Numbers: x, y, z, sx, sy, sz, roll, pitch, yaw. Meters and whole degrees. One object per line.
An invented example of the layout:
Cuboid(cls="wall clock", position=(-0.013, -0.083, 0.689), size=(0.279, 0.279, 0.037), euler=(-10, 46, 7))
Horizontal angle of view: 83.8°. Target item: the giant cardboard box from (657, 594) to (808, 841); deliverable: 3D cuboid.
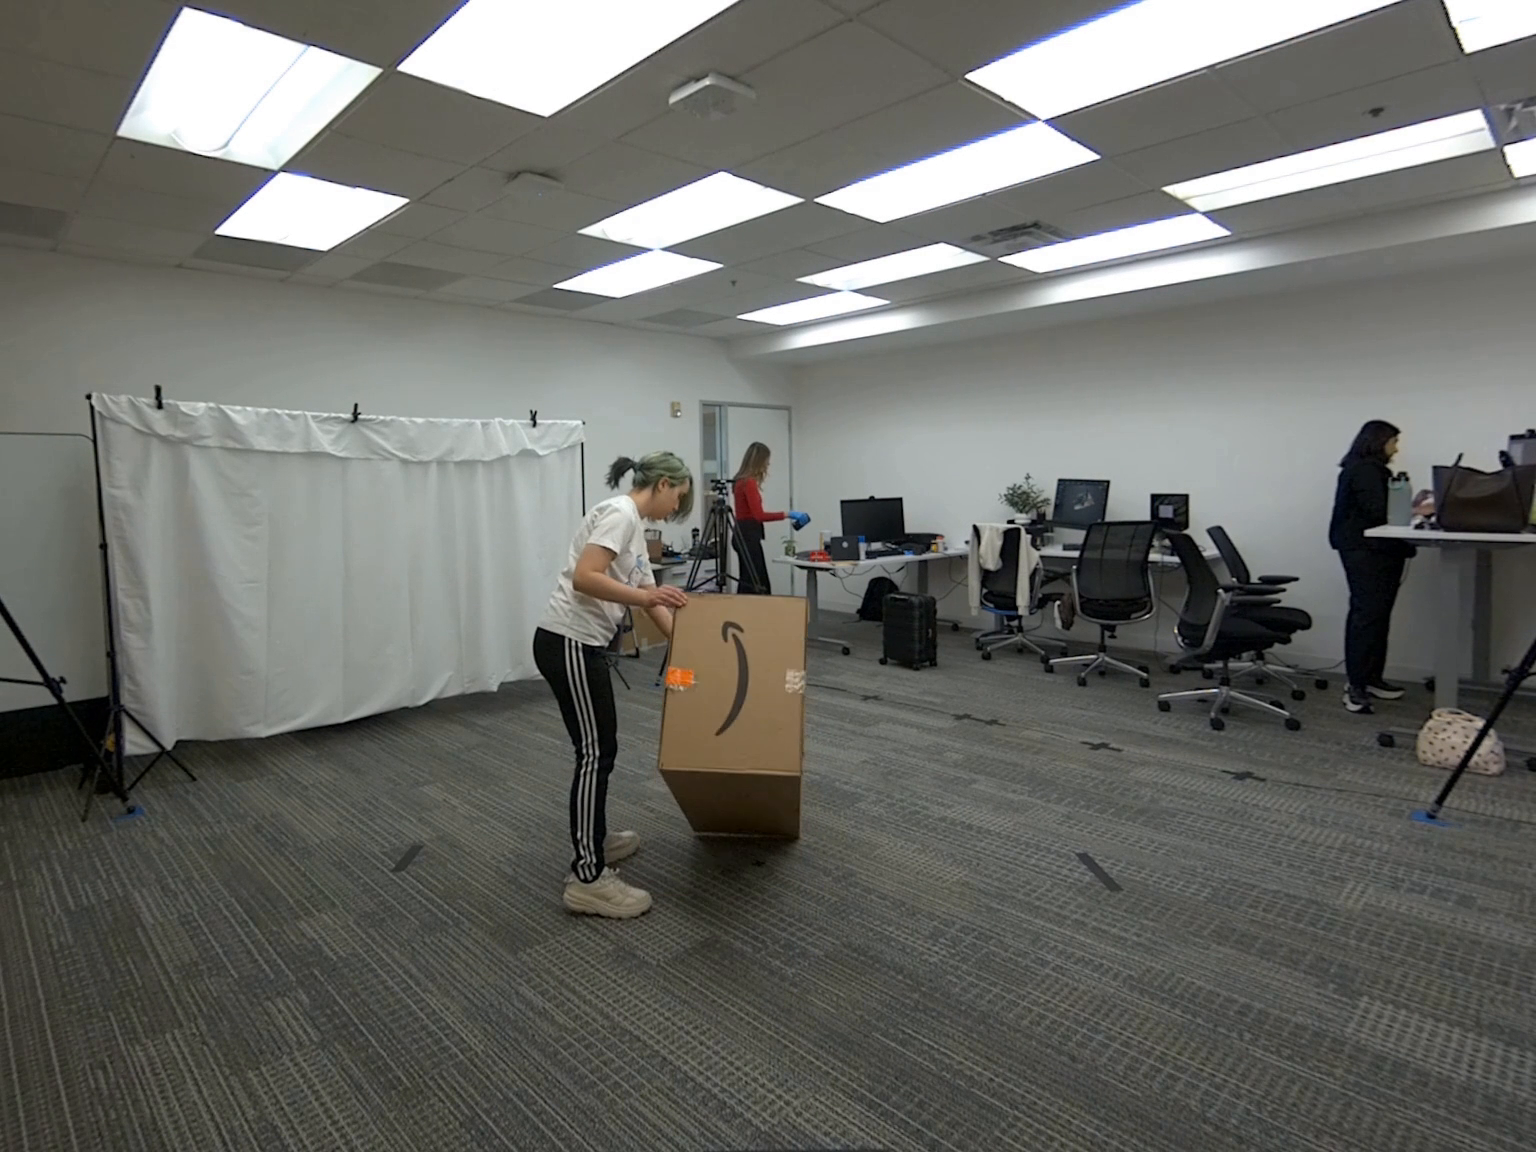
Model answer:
Cuboid(cls="giant cardboard box", position=(-0.086, 0.544, 3.050), size=(0.428, 0.589, 1.000), euler=(2, -27, 3))
